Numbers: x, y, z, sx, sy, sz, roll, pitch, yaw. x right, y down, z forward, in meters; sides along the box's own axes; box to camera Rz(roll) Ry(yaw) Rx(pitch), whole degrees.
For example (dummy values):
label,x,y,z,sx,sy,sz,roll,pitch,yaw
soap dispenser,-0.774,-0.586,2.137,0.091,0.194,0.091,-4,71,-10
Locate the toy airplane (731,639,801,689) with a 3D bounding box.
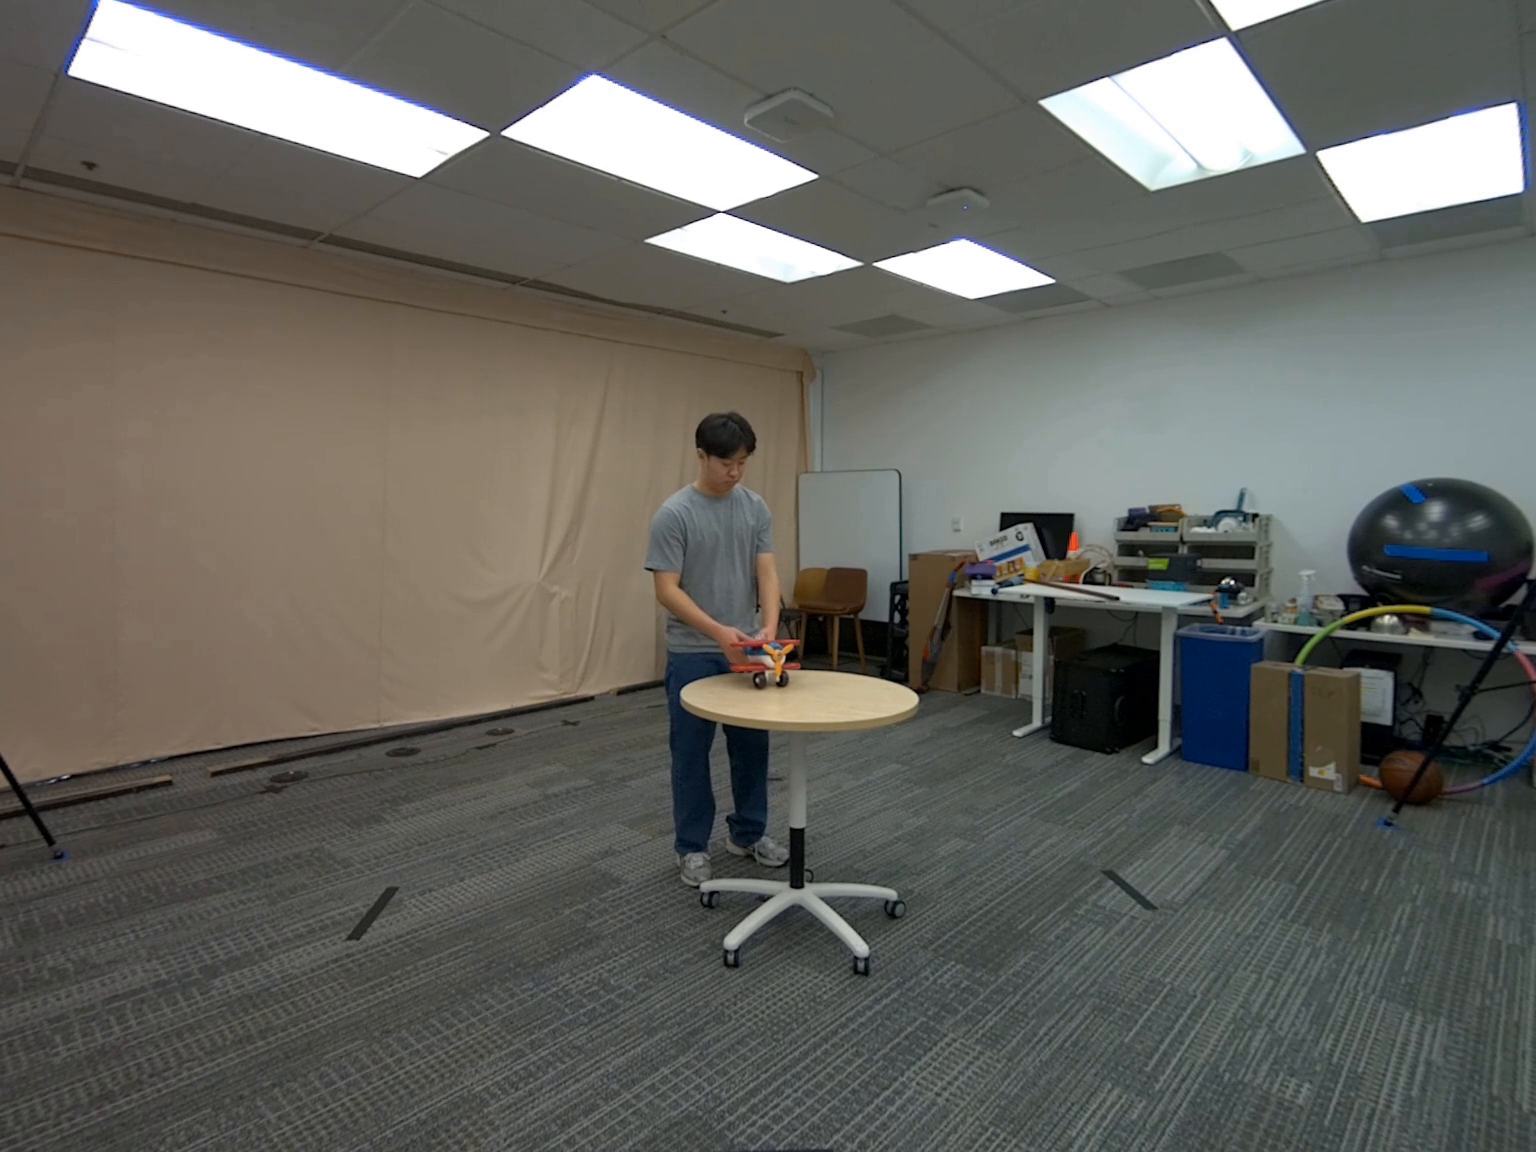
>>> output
label,x,y,z,sx,sy,sz,roll,pitch,yaw
toy airplane,-0.038,0.279,2.865,0.268,0.156,0.244,11,10,33
